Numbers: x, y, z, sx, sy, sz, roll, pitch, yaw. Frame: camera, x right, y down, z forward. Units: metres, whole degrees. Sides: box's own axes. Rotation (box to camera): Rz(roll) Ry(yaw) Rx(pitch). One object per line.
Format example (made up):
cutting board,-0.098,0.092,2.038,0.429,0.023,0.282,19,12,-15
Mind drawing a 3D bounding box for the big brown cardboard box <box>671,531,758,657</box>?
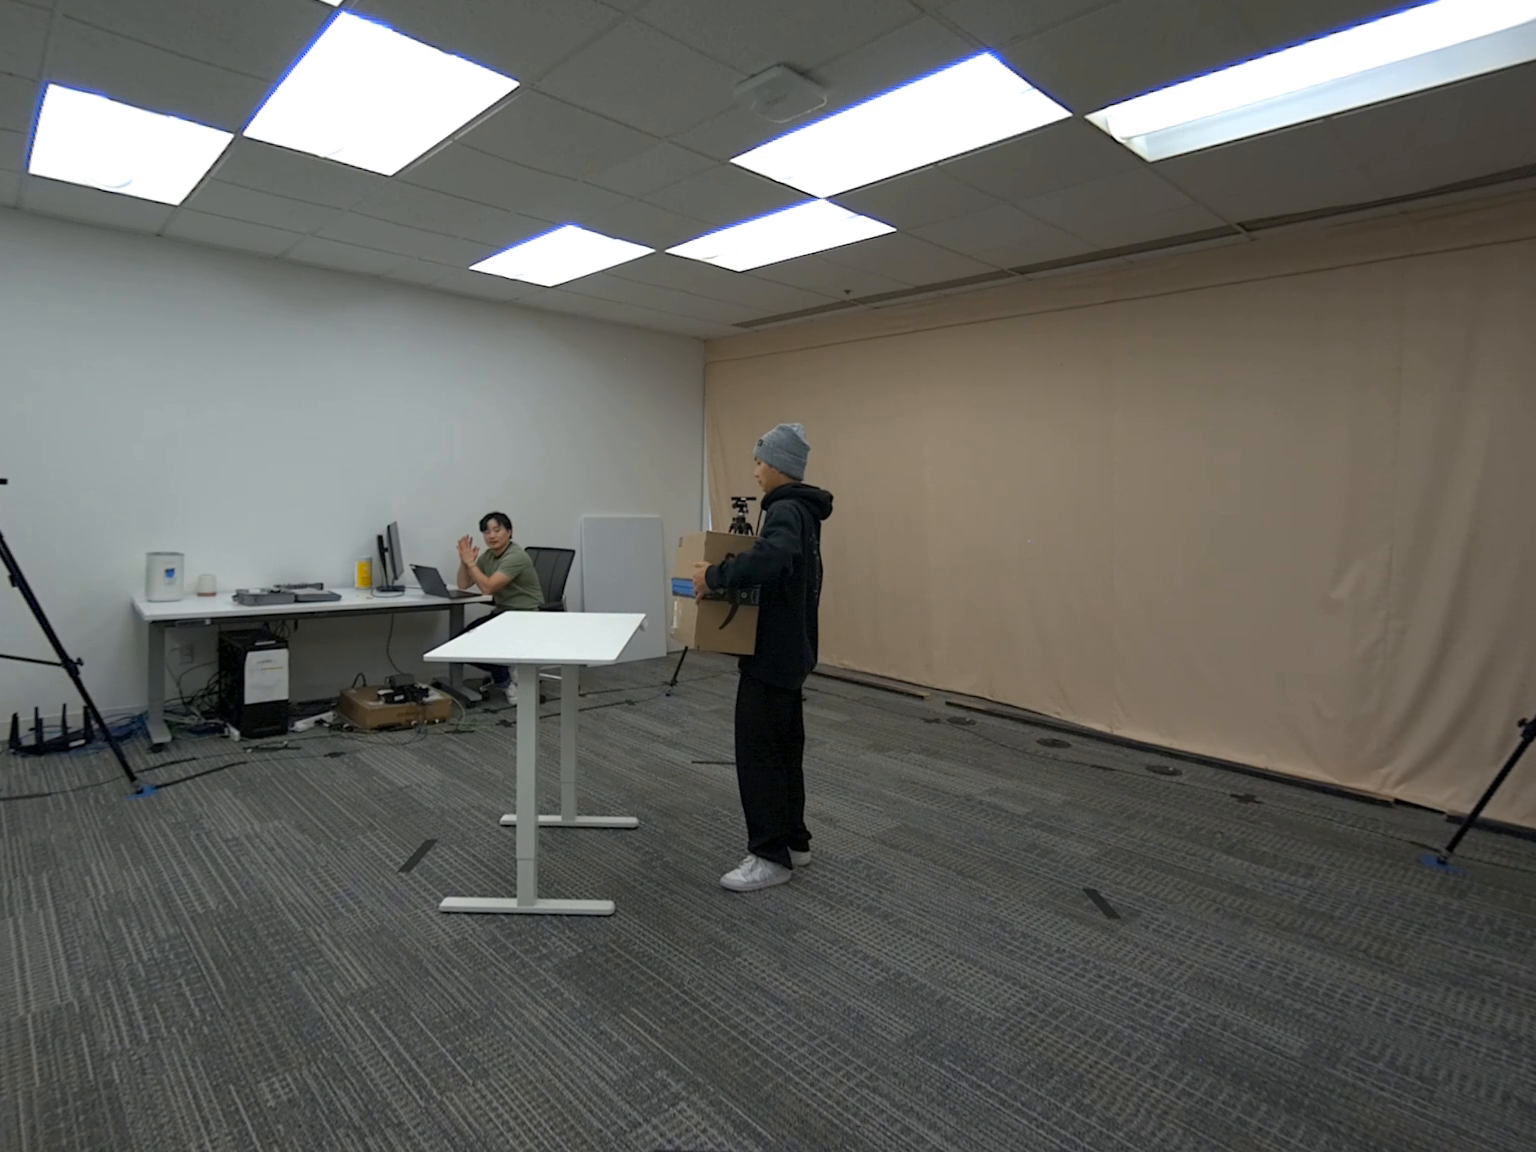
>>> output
big brown cardboard box,-0.215,0.053,3.184,0.230,0.418,0.596,5,-2,-16
